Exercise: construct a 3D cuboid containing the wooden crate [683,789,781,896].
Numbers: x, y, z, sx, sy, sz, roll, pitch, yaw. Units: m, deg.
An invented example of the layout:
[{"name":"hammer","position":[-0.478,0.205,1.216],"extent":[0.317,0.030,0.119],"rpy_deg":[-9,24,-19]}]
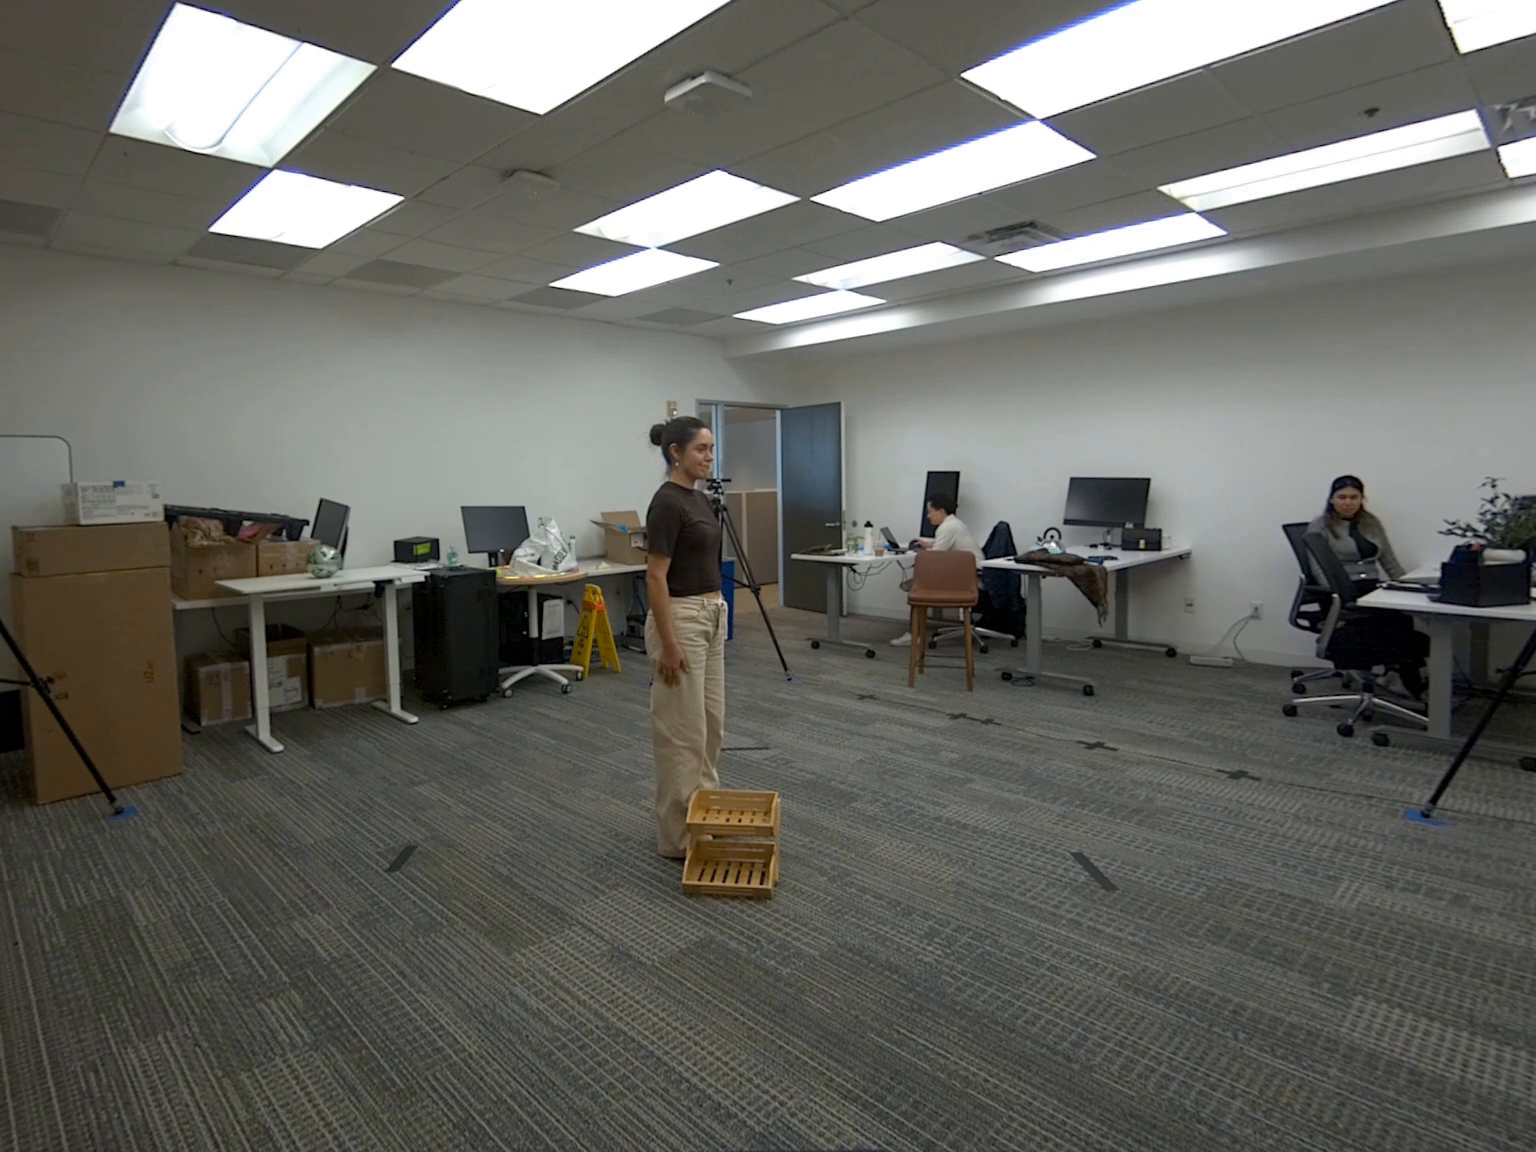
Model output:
[{"name":"wooden crate","position":[-0.120,0.926,2.976],"extent":[0.327,0.272,0.300],"rpy_deg":[0,4,7]}]
